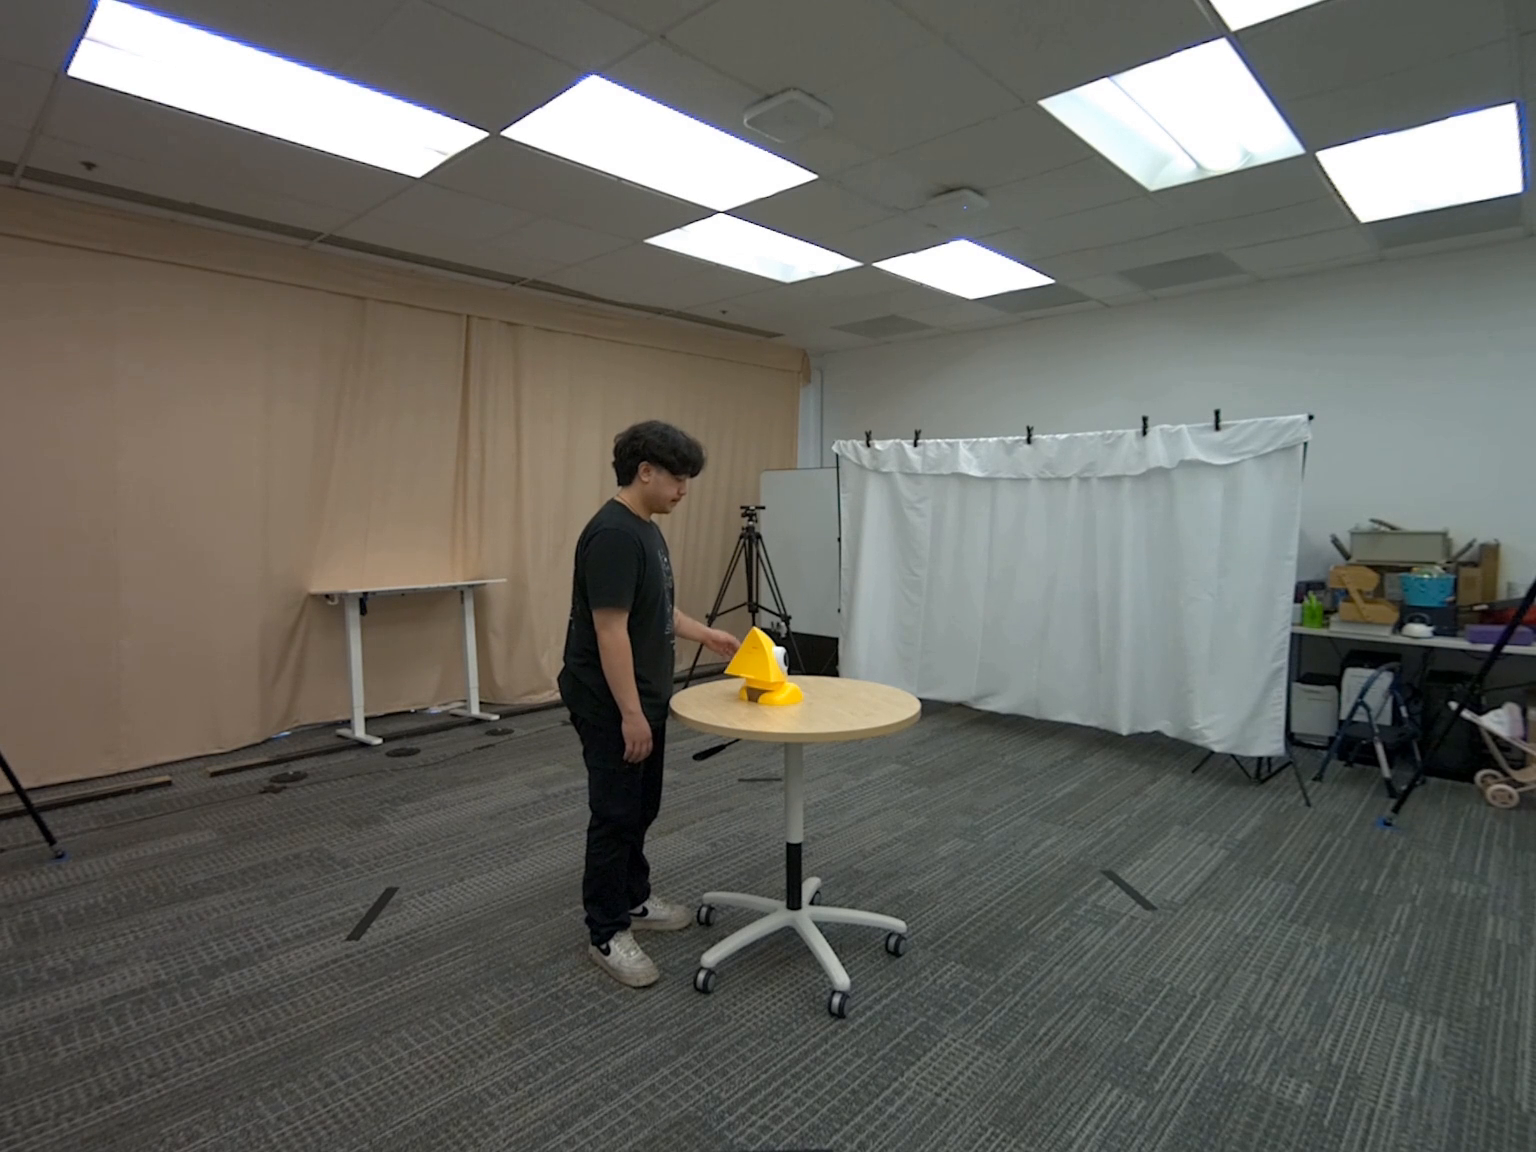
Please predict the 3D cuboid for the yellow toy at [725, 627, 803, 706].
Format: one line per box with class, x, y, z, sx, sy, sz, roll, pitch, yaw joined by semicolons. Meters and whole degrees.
yellow toy;0.004;0.268;2.613;0.187;0.230;0.211;-3;4;-45
